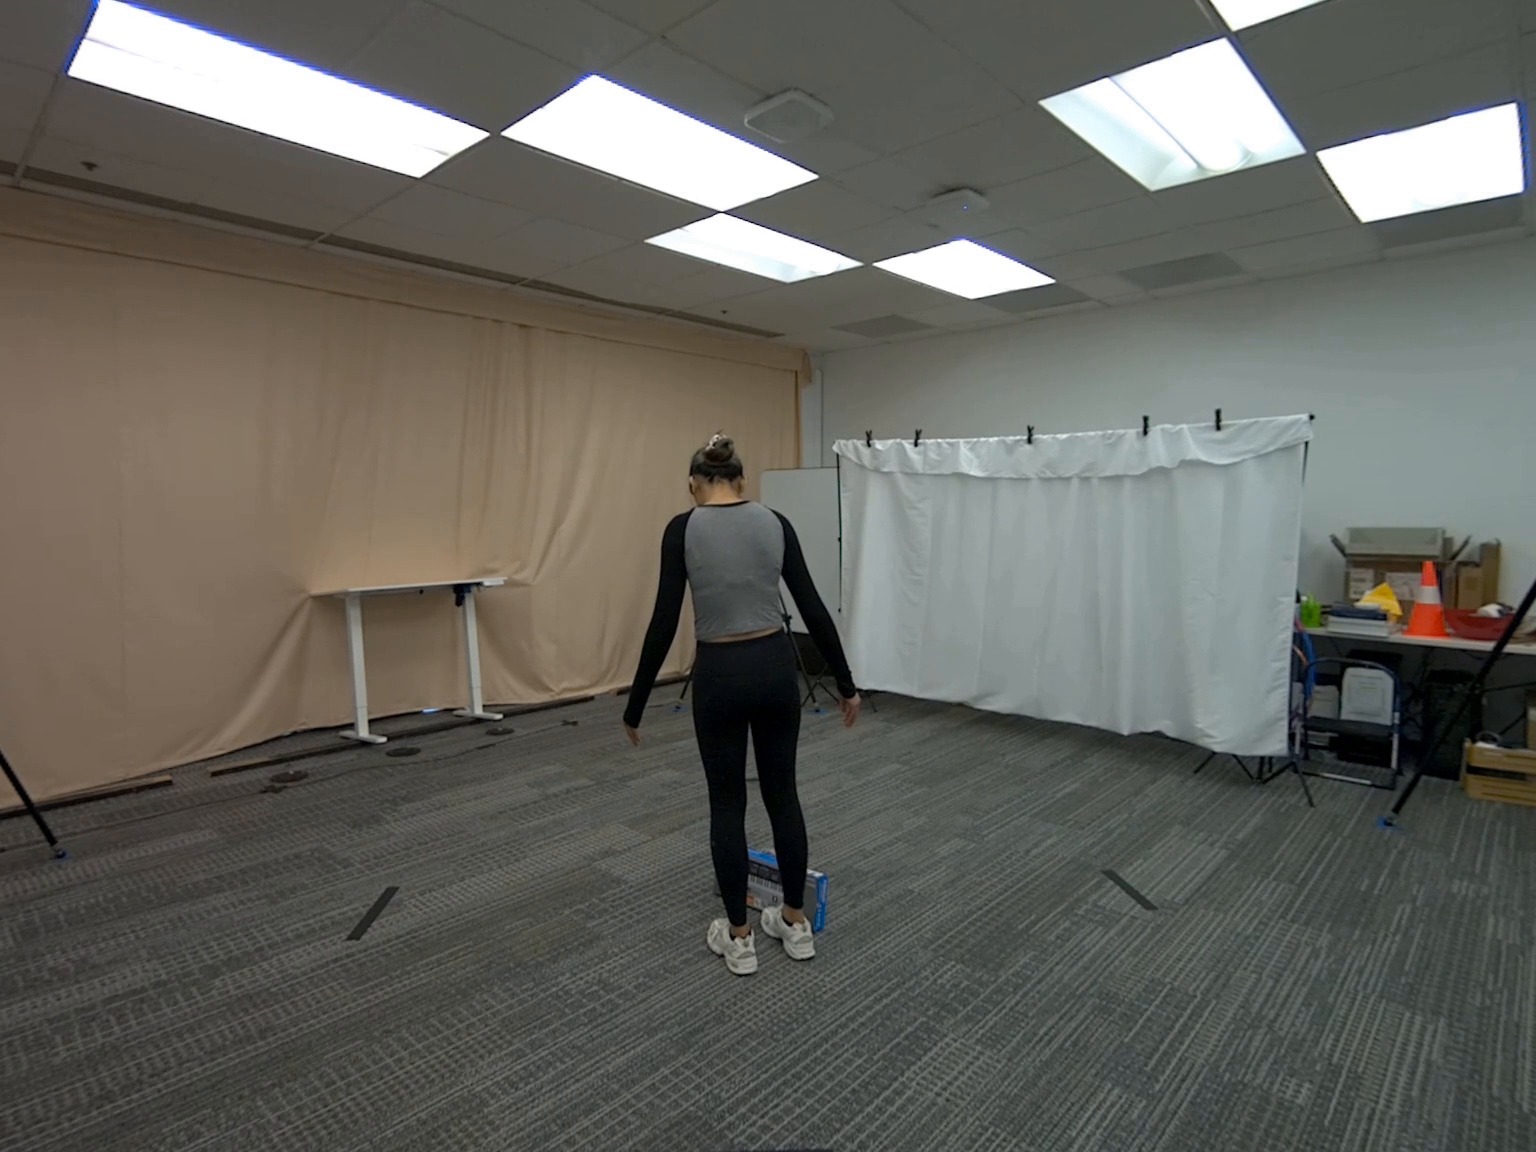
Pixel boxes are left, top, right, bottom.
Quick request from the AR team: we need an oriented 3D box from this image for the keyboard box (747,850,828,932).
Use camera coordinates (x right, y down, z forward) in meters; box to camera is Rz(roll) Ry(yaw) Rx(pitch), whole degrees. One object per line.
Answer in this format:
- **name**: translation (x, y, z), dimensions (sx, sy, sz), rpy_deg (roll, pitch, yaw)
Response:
- **keyboard box**: translation (0.007, 1.066, 2.903), dimensions (0.451, 0.176, 0.057), rpy_deg (3, -3, 39)
